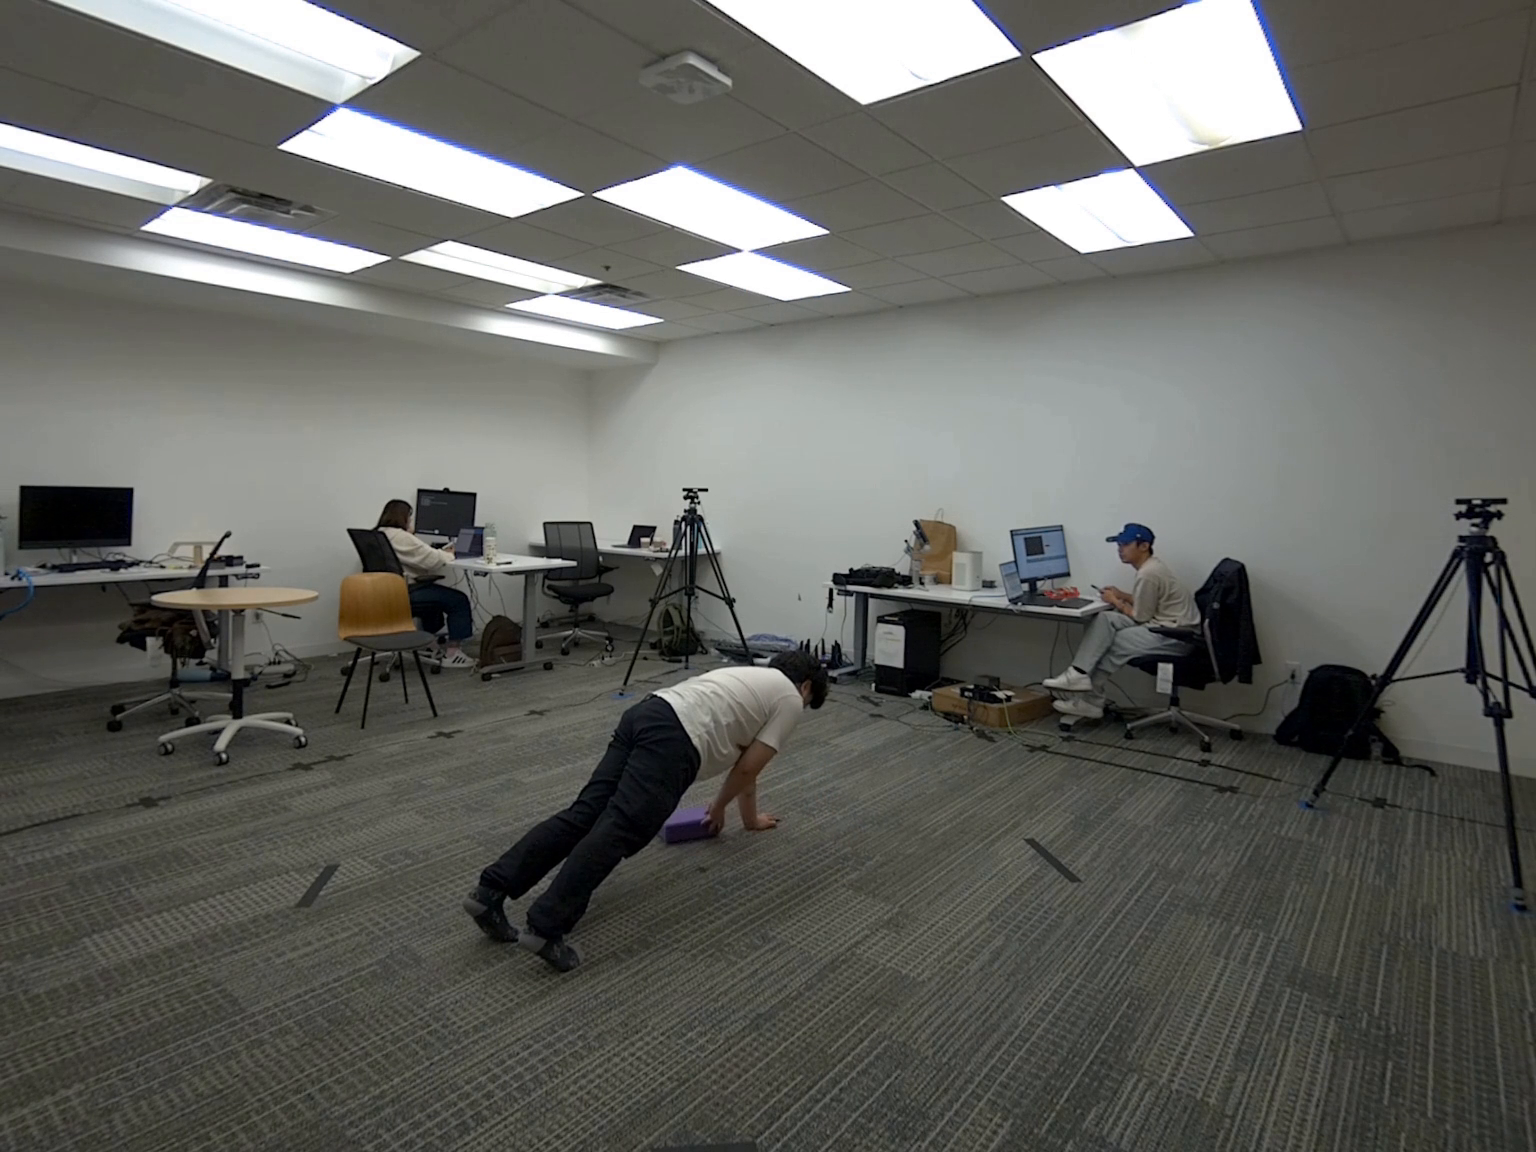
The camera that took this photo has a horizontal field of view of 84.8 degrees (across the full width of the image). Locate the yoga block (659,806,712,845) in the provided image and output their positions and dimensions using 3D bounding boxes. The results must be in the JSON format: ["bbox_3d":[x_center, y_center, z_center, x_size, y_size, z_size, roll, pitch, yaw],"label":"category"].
[{"bbox_3d":[-0.328,0.994,3.432,0.224,0.076,0.153,-3,8,-22],"label":"yoga block"}]
